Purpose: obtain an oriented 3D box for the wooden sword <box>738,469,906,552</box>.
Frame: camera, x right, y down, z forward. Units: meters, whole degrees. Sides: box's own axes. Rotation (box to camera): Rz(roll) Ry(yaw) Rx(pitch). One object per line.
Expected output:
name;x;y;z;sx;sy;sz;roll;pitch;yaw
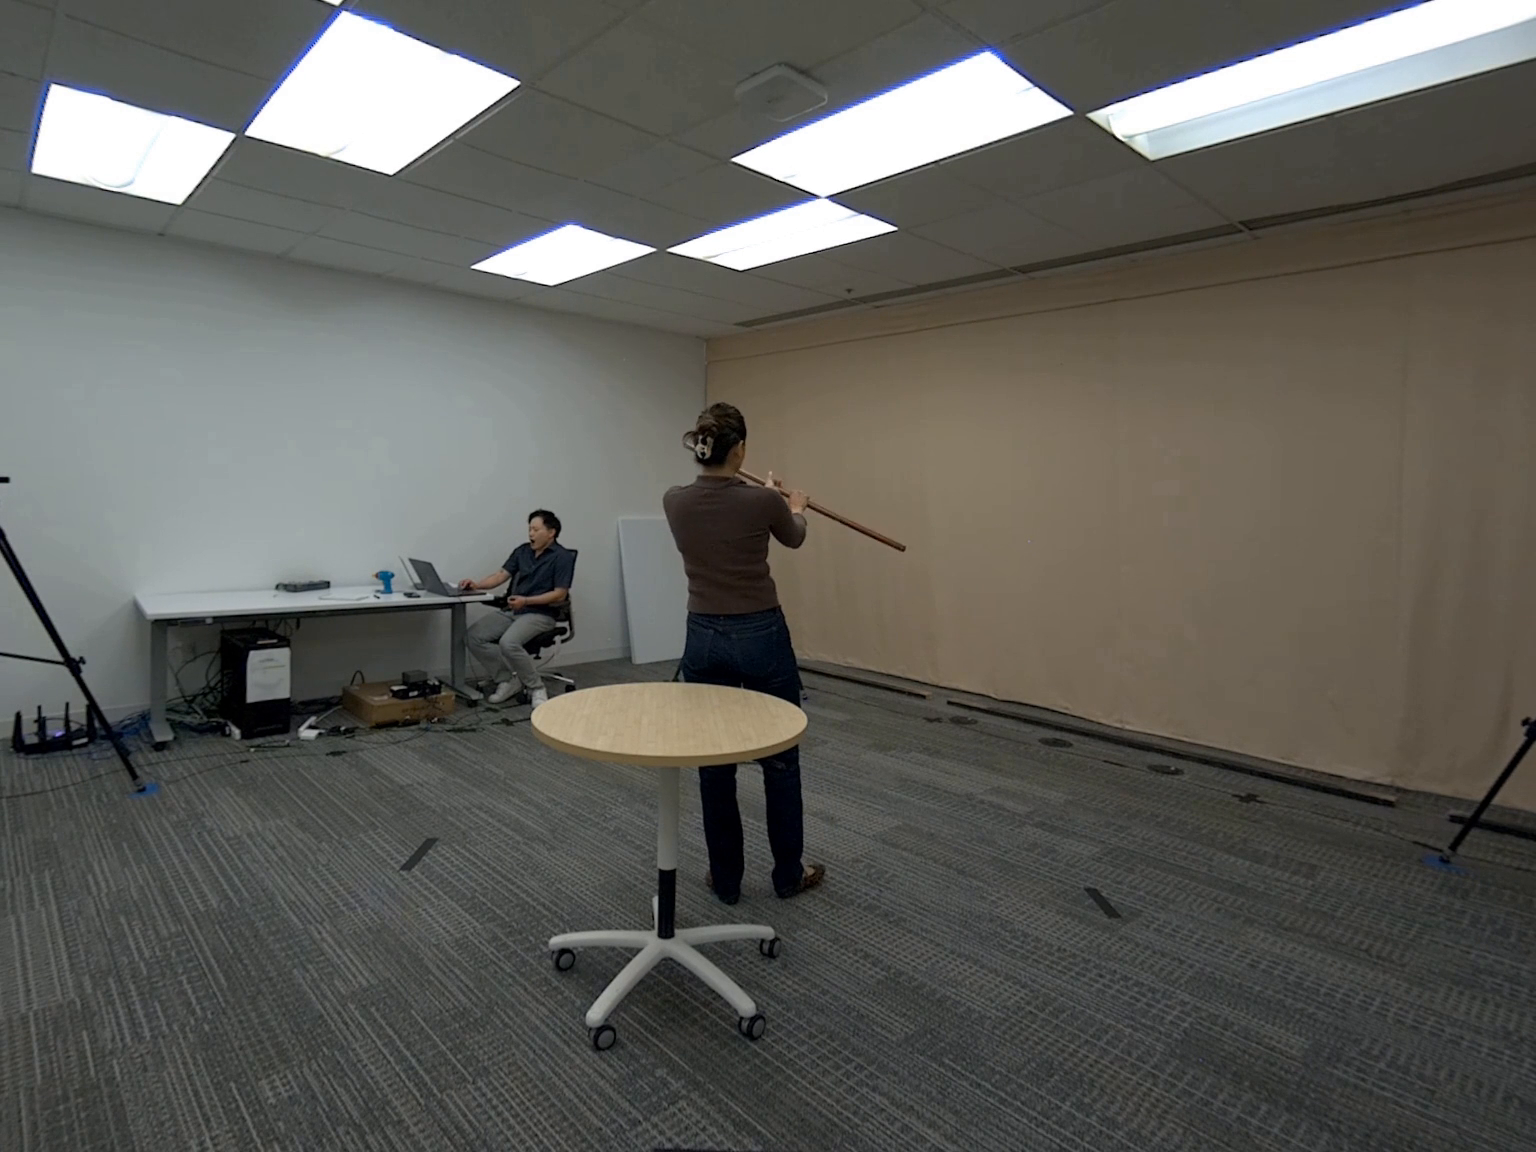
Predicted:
wooden sword;0.078;-0.329;3.340;1.047;0.051;0.023;27;-5;22
